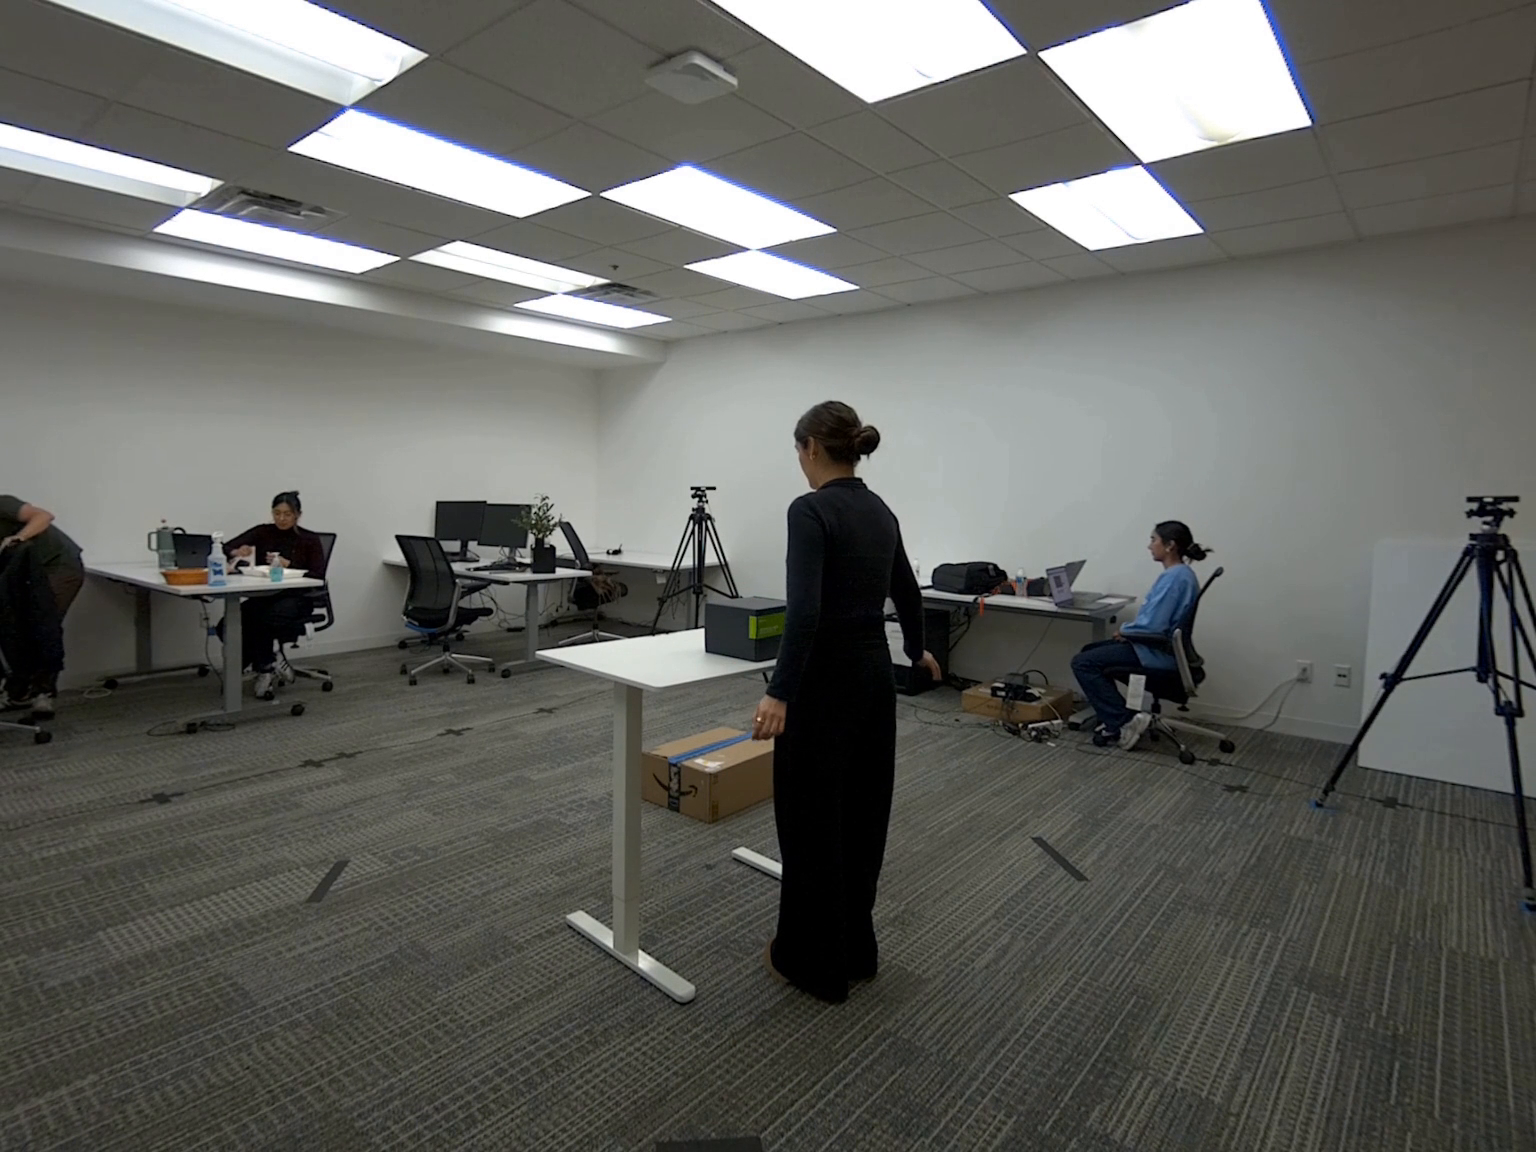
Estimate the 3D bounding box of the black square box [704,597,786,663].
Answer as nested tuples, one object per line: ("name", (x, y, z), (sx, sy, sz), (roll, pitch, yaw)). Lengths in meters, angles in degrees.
("black square box", (-0.049, 0.158, 2.612), (0.224, 0.155, 0.221), (5, 6, 41))
